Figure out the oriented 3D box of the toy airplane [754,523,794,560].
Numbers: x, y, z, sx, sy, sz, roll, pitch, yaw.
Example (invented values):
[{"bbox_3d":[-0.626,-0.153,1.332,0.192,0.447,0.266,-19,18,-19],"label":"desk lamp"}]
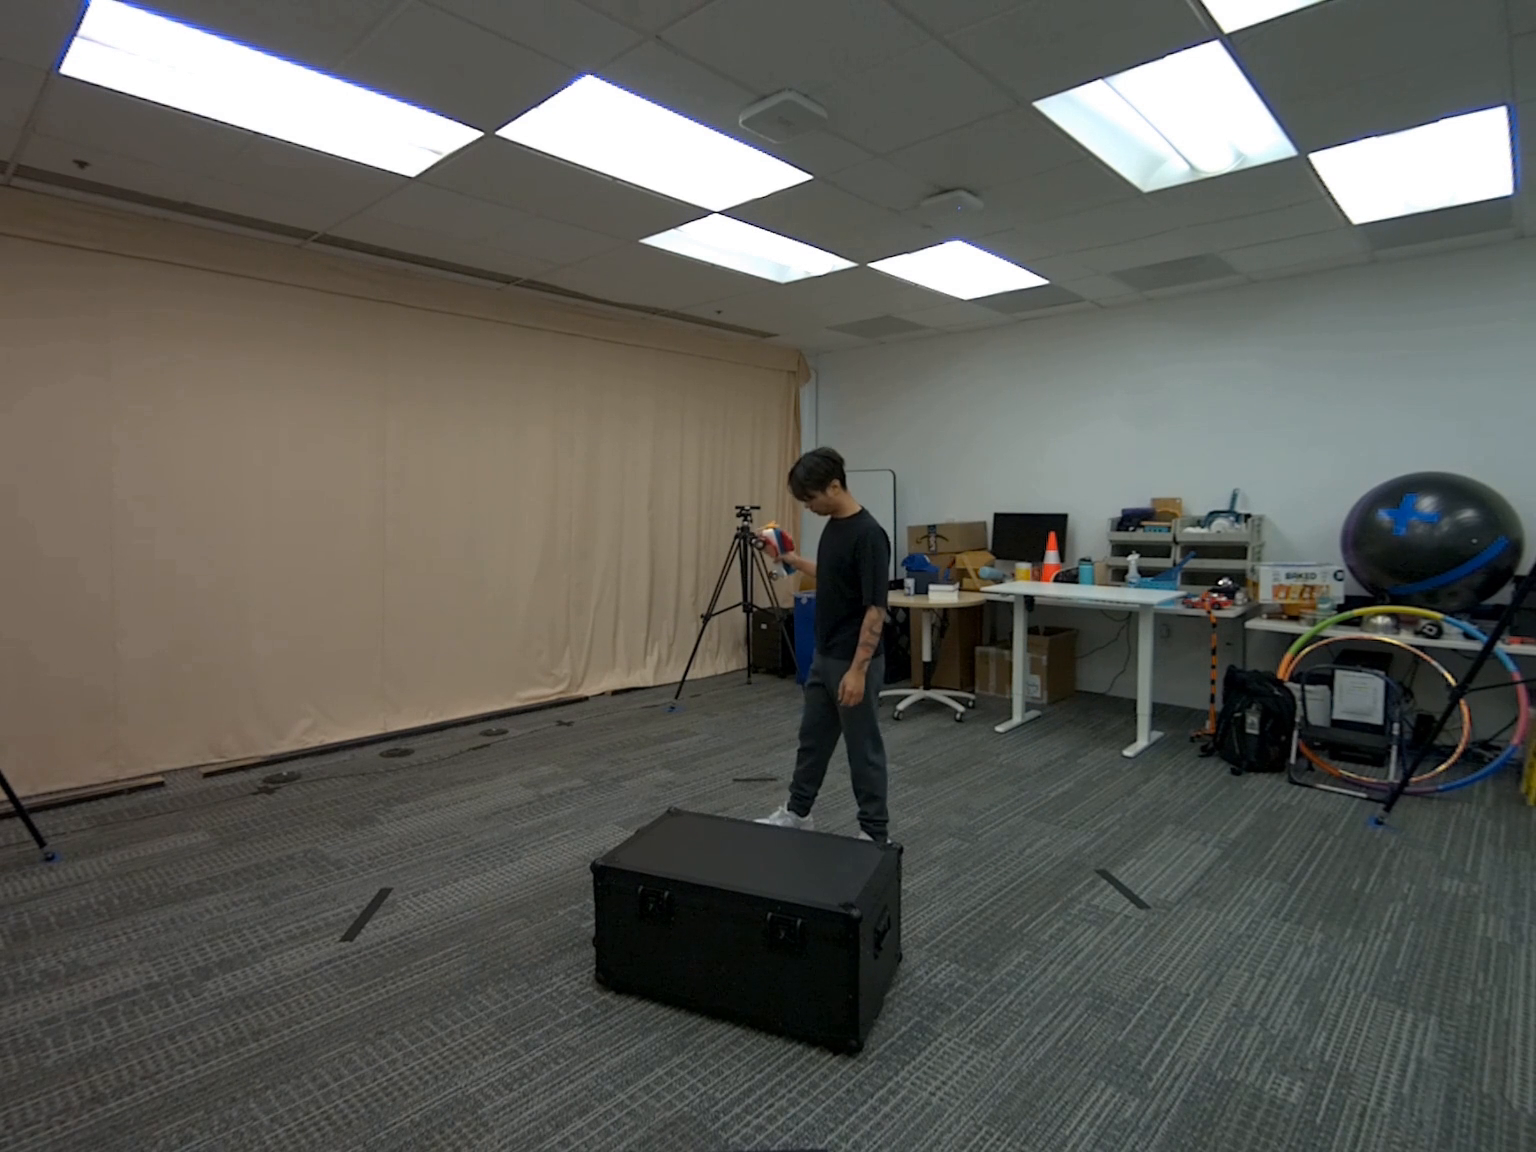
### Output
[{"bbox_3d":[0.017,-0.116,3.820,0.155,0.252,0.260,-32,46,-11],"label":"toy airplane"}]
